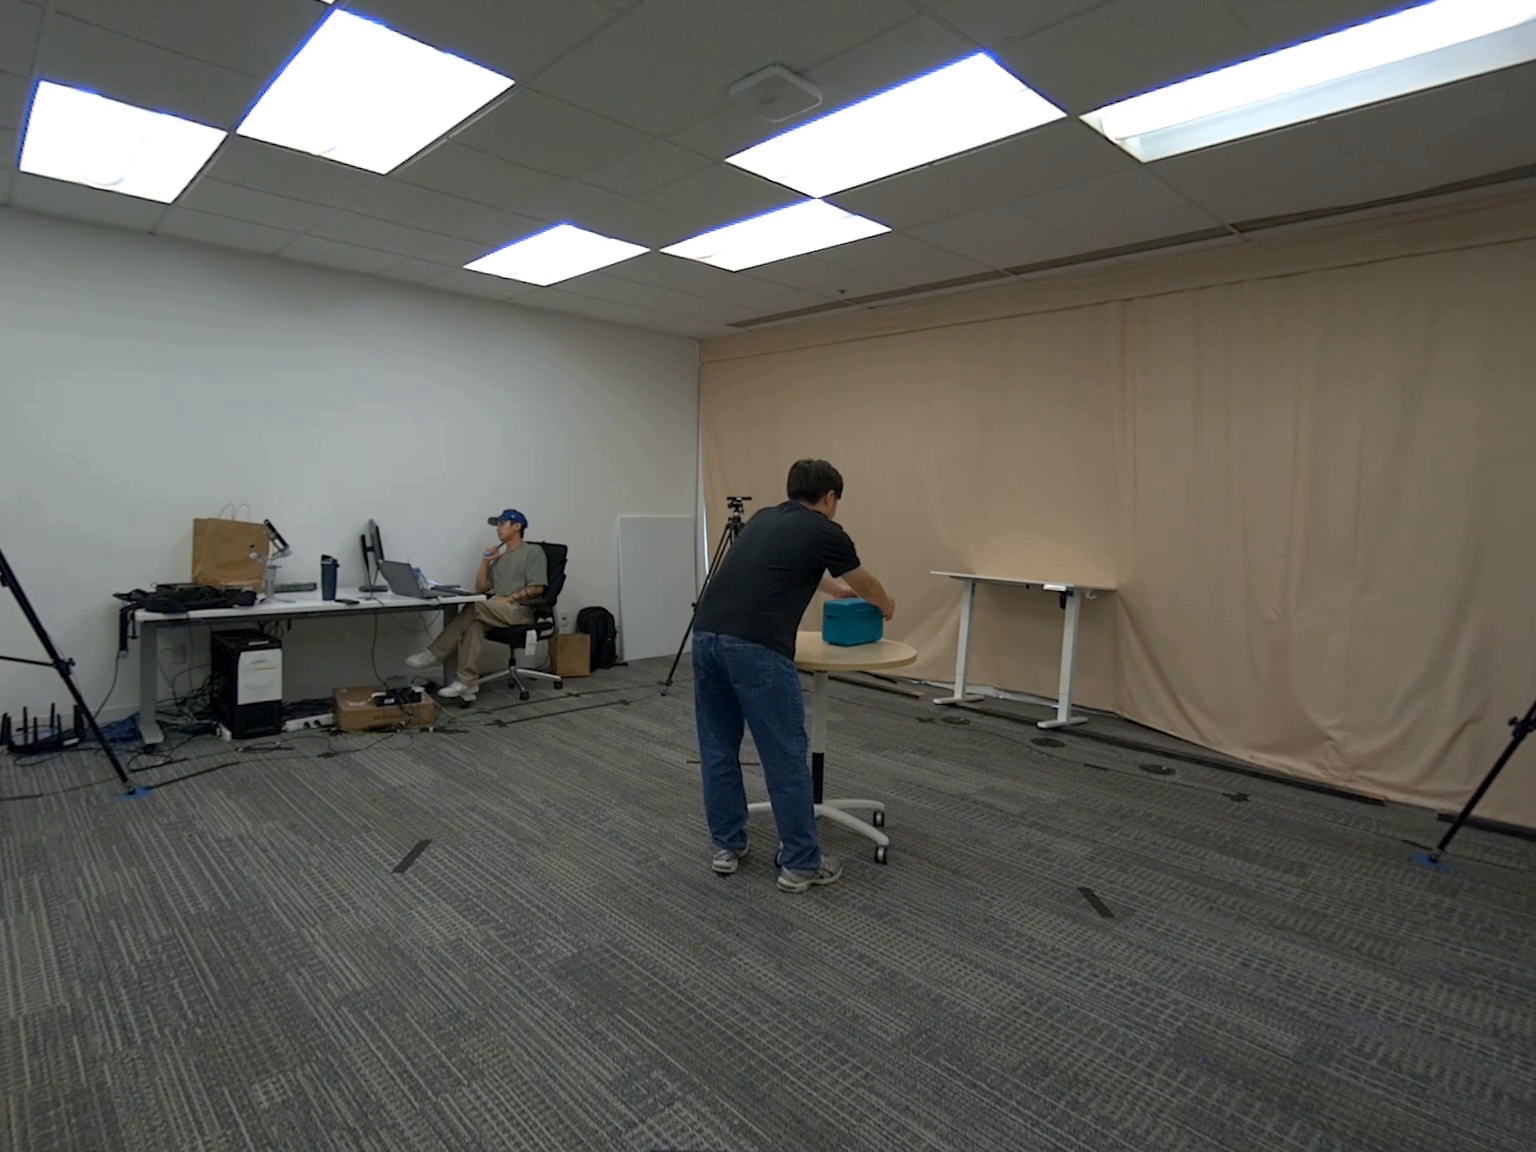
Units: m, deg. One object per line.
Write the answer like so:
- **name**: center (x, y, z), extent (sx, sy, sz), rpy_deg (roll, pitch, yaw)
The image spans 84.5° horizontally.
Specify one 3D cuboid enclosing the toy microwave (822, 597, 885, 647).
- **toy microwave**: center (0.356, 0.193, 3.586), extent (0.156, 0.183, 0.280), rpy_deg (5, 6, 41)
